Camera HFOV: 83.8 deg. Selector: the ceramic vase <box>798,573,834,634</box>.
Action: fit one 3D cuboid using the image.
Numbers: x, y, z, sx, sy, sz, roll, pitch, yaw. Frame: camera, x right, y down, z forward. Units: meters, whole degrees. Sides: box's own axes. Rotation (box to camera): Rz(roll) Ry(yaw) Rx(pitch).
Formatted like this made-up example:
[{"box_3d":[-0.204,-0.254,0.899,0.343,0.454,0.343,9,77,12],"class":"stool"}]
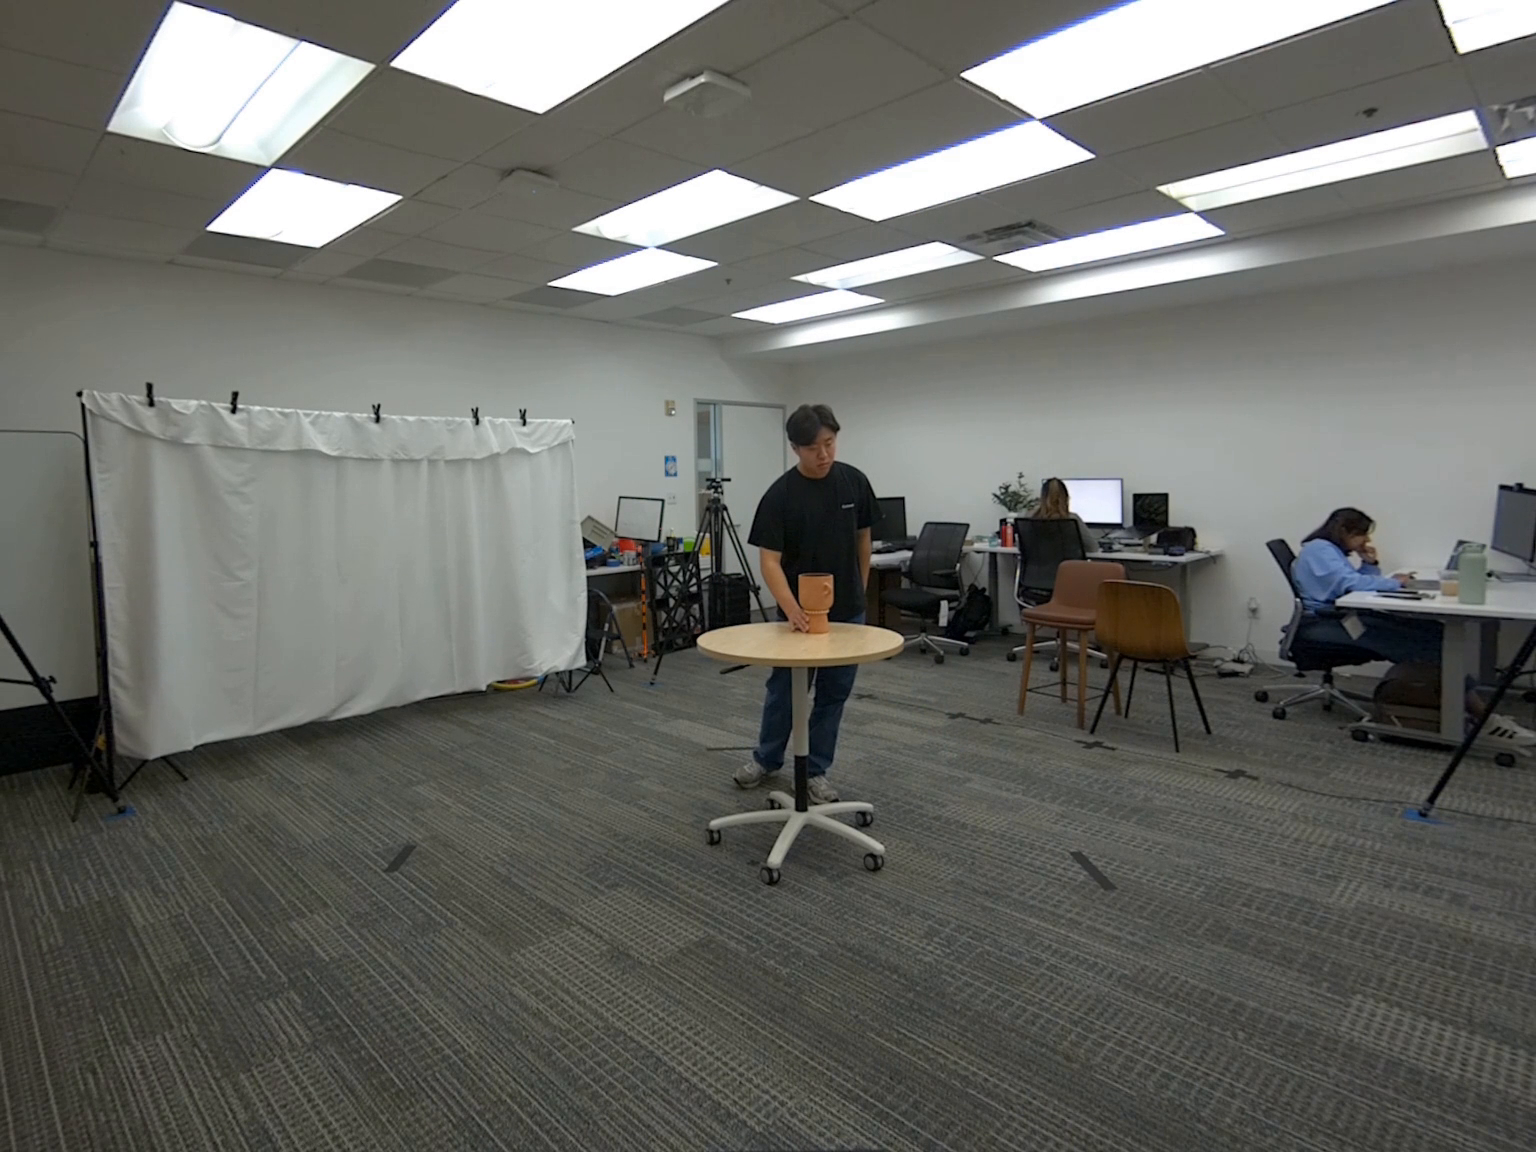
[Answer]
[{"box_3d":[0.185,0.110,3.324,0.136,0.219,0.158,-2,4,10],"class":"ceramic vase"}]
